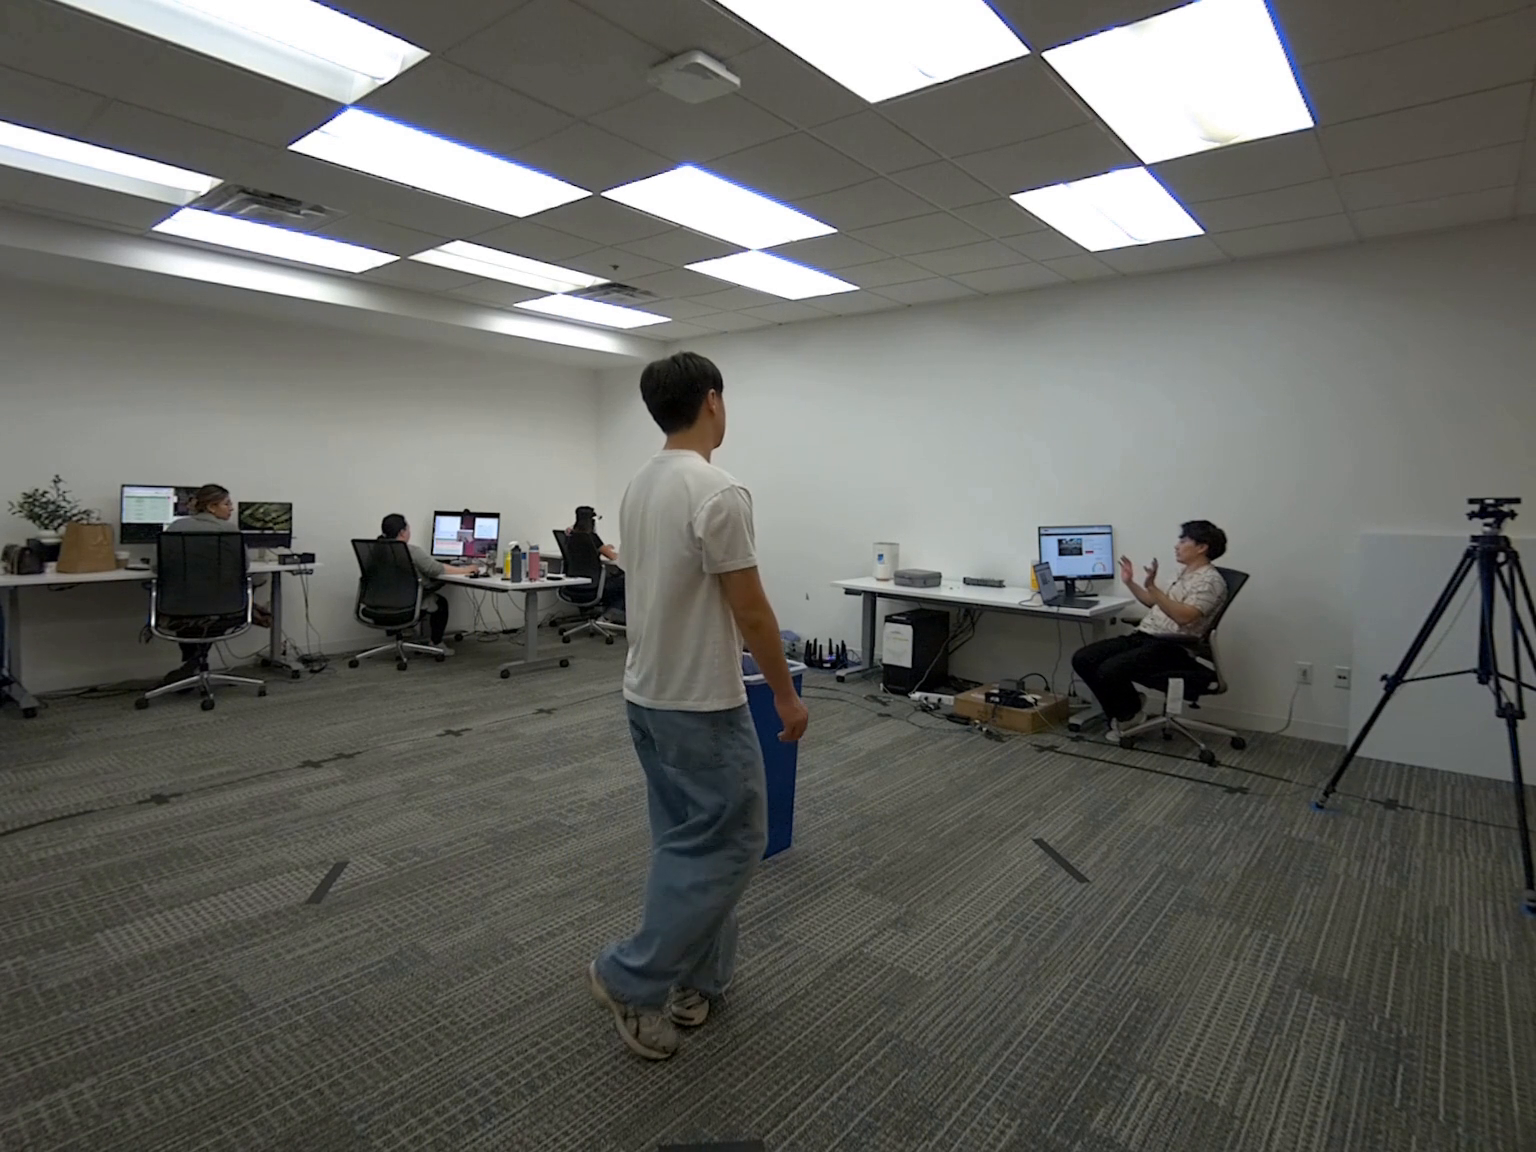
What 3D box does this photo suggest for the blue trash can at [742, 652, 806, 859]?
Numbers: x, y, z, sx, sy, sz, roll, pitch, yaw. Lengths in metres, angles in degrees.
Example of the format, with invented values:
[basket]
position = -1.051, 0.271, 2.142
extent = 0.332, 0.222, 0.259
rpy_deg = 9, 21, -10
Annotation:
[blue trash can]
position = -0.106, 0.691, 3.293
extent = 0.386, 0.712, 0.367
rpy_deg = 3, 4, 40
